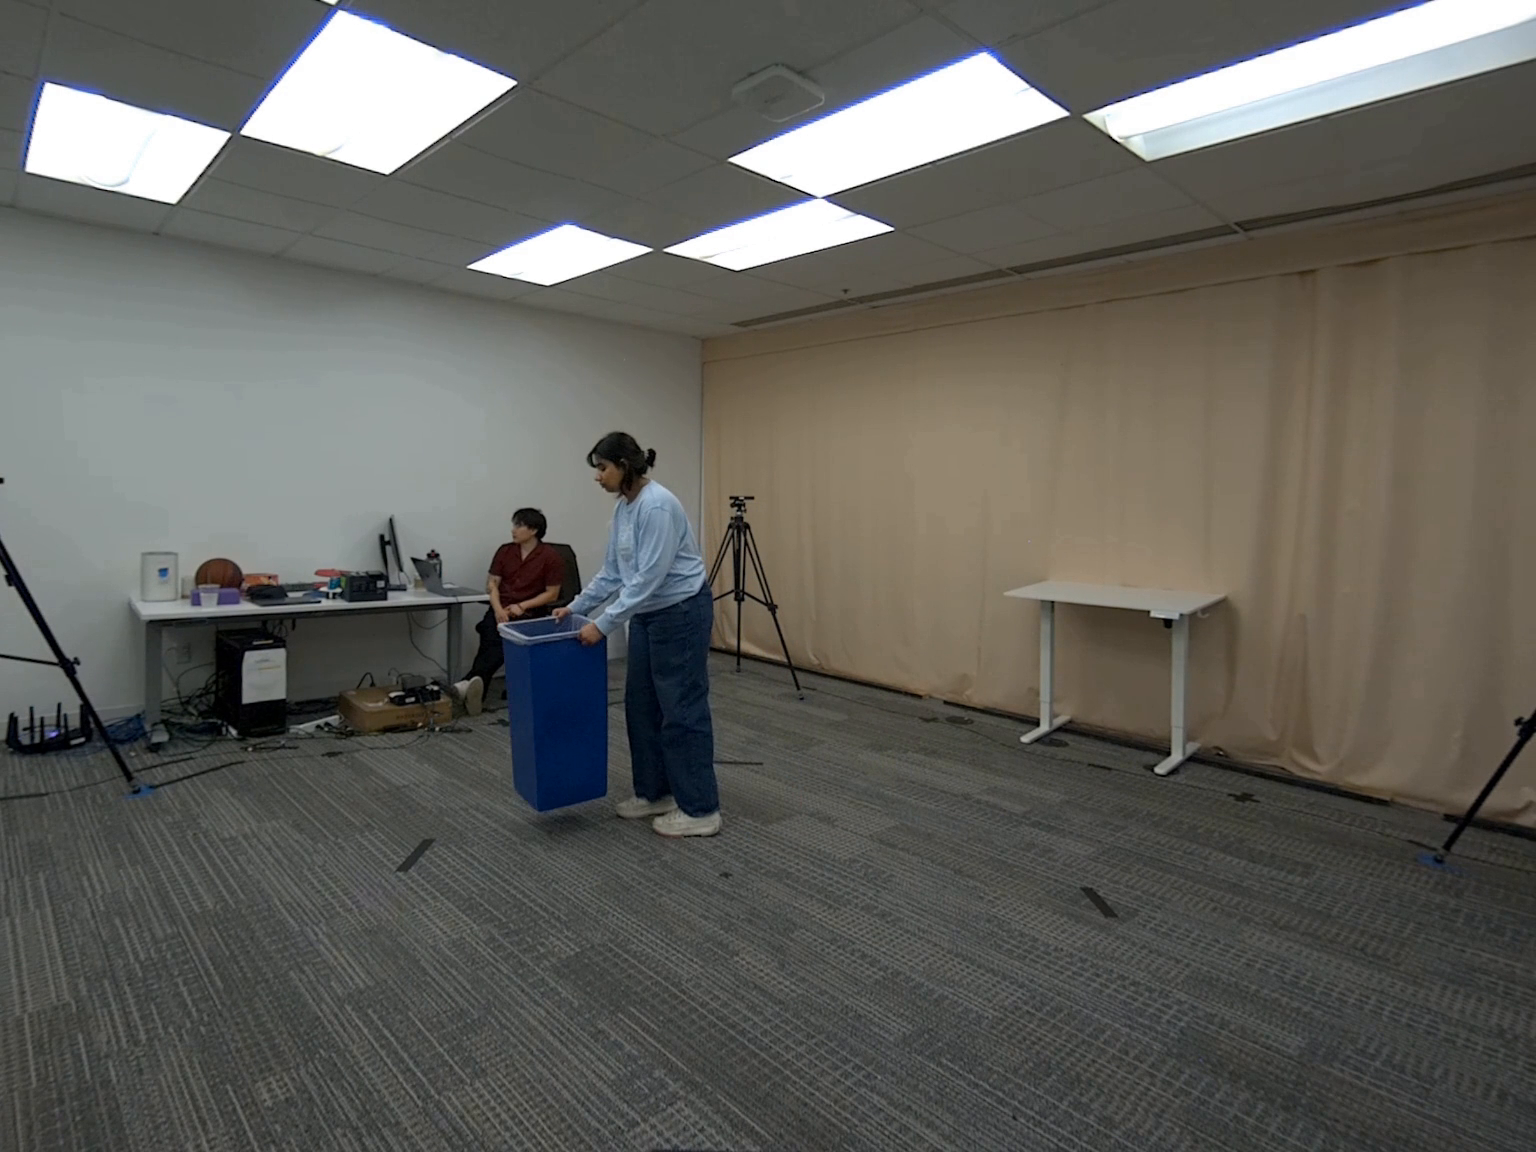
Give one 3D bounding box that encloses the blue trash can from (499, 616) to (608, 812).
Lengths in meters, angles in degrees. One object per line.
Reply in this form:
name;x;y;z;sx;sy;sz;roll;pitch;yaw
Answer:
blue trash can;-0.889;0.561;3.489;0.366;0.711;0.387;-4;6;-34
